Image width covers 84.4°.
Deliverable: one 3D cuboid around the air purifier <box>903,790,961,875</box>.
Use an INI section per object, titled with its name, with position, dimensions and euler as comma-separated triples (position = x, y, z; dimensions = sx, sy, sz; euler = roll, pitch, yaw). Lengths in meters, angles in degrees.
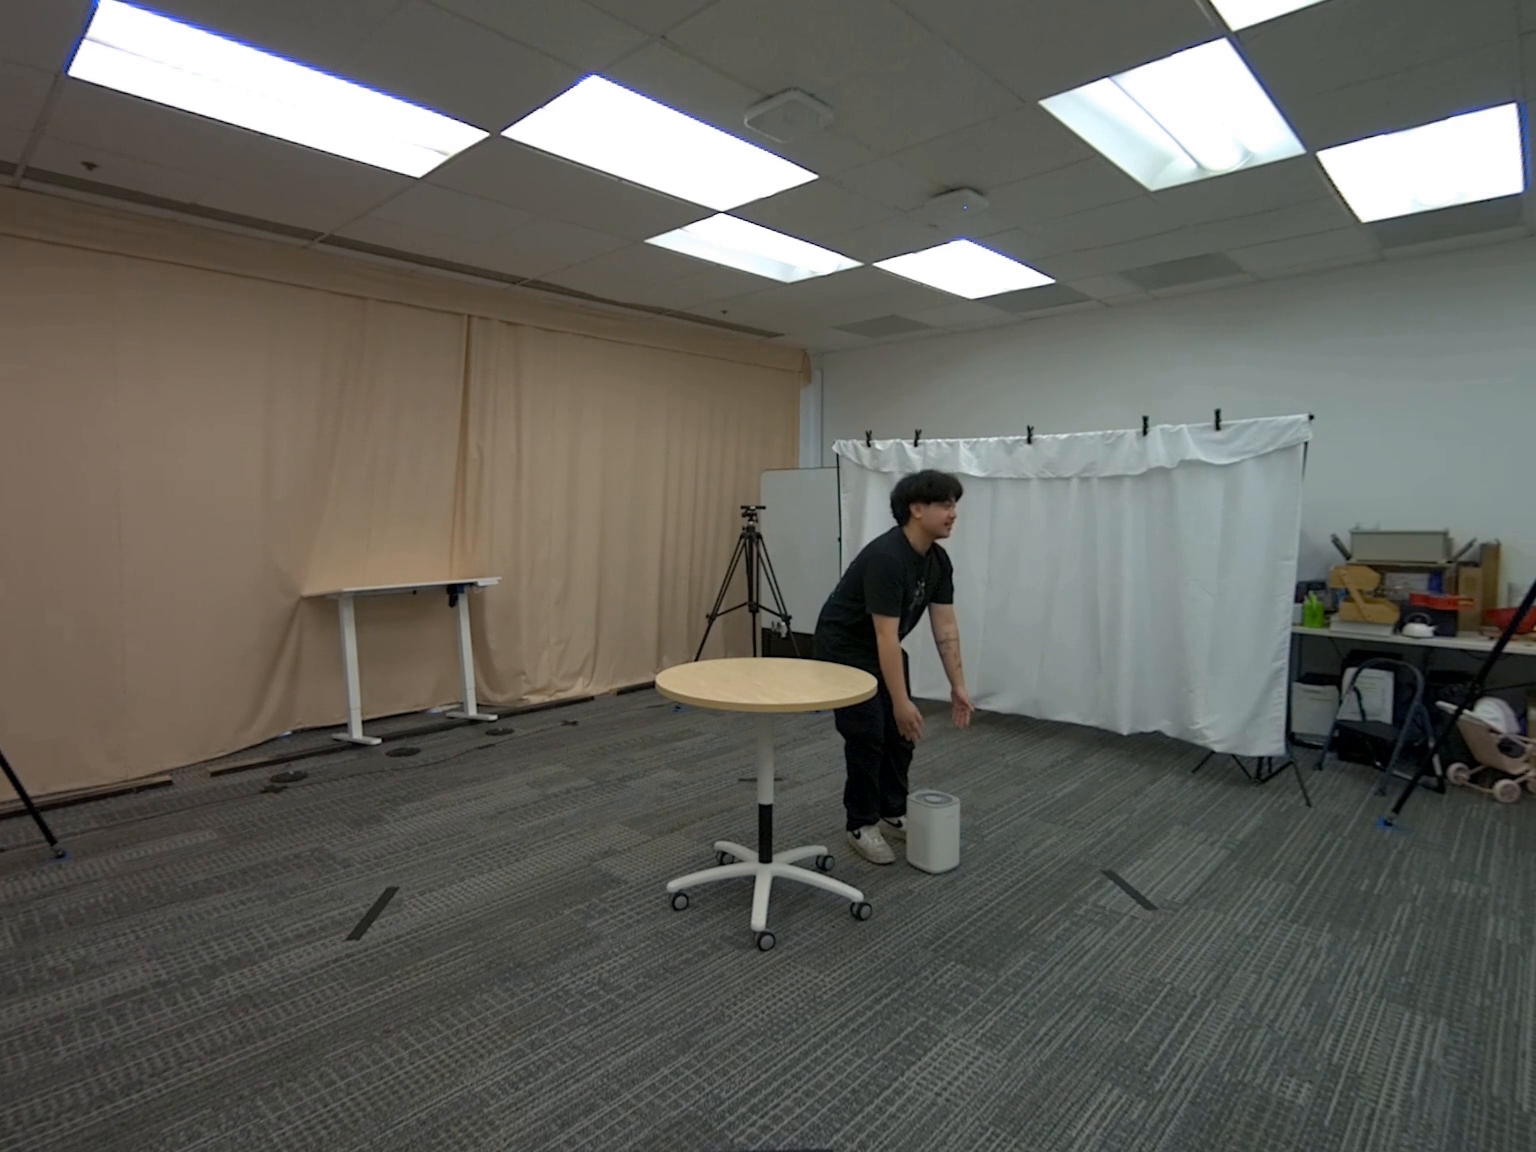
[air purifier]
position = 0.645, 0.988, 3.246
dimensions = 0.166, 0.264, 0.177
euler = -3, 6, -38
